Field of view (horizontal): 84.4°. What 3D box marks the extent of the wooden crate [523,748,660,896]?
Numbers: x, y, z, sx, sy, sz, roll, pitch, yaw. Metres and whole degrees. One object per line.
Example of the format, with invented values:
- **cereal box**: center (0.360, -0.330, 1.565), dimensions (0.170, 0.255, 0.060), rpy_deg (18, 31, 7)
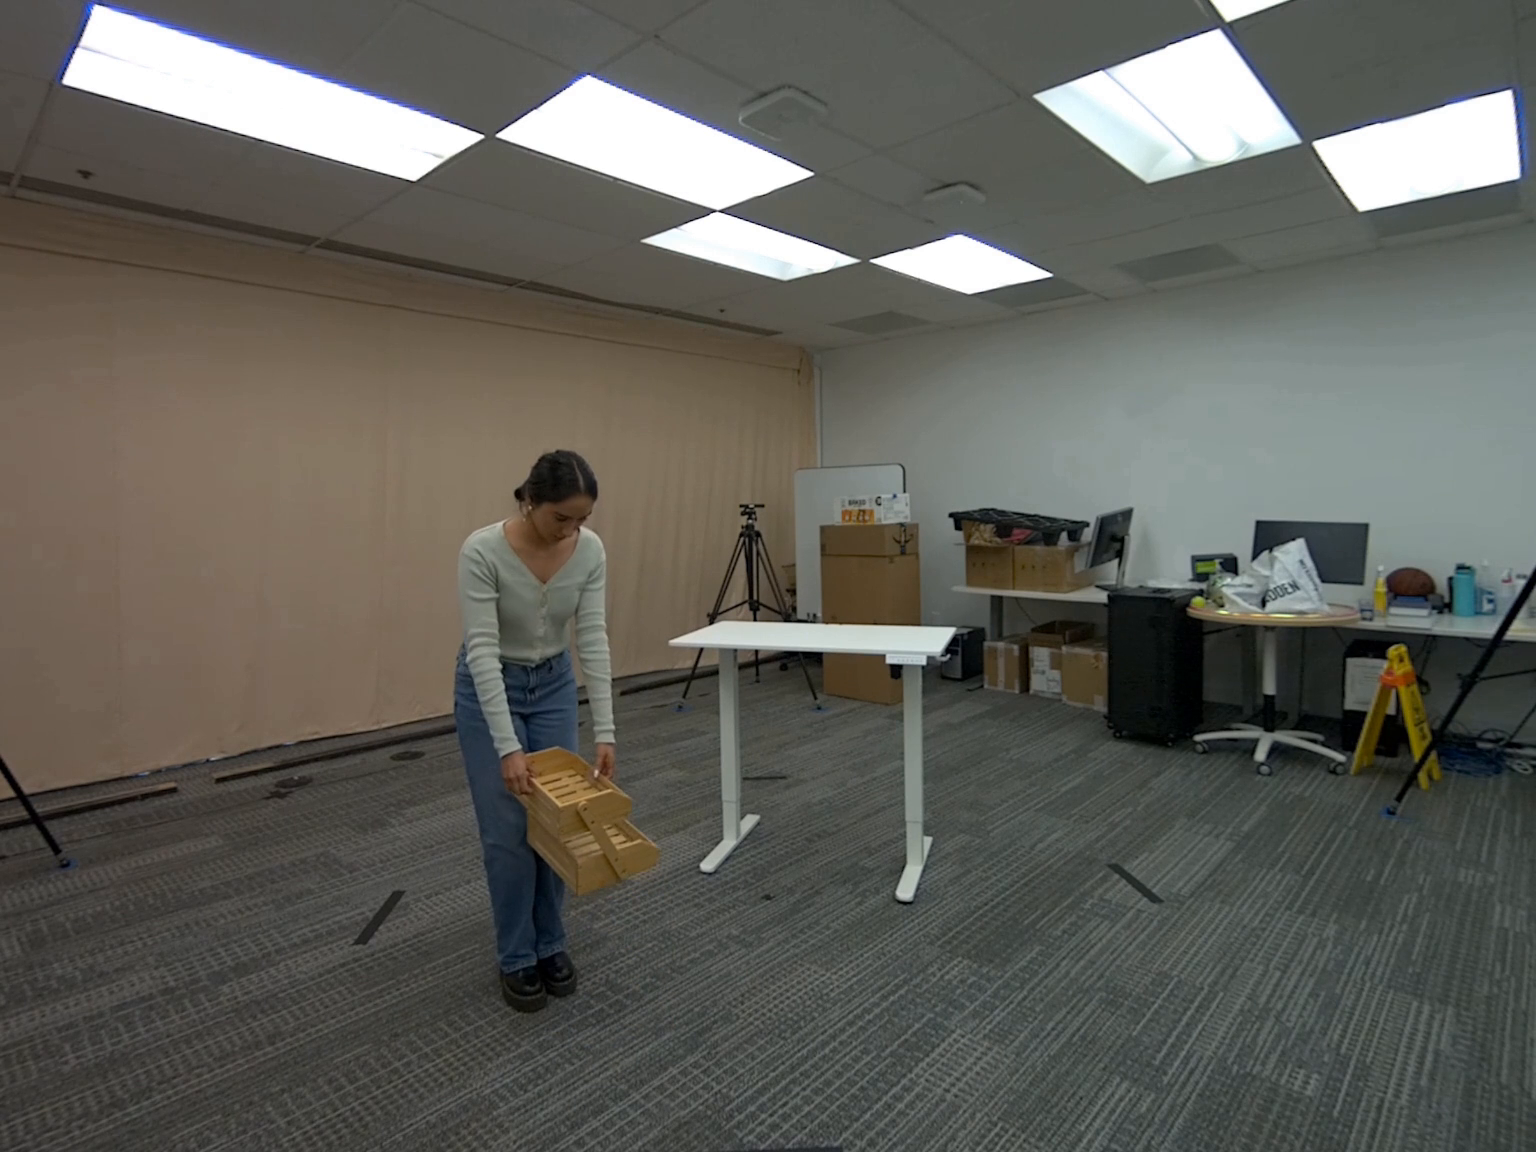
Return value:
- **wooden crate**: center (-0.484, 0.634, 2.241), dimensions (0.294, 0.271, 0.336), rpy_deg (-9, 16, -37)
